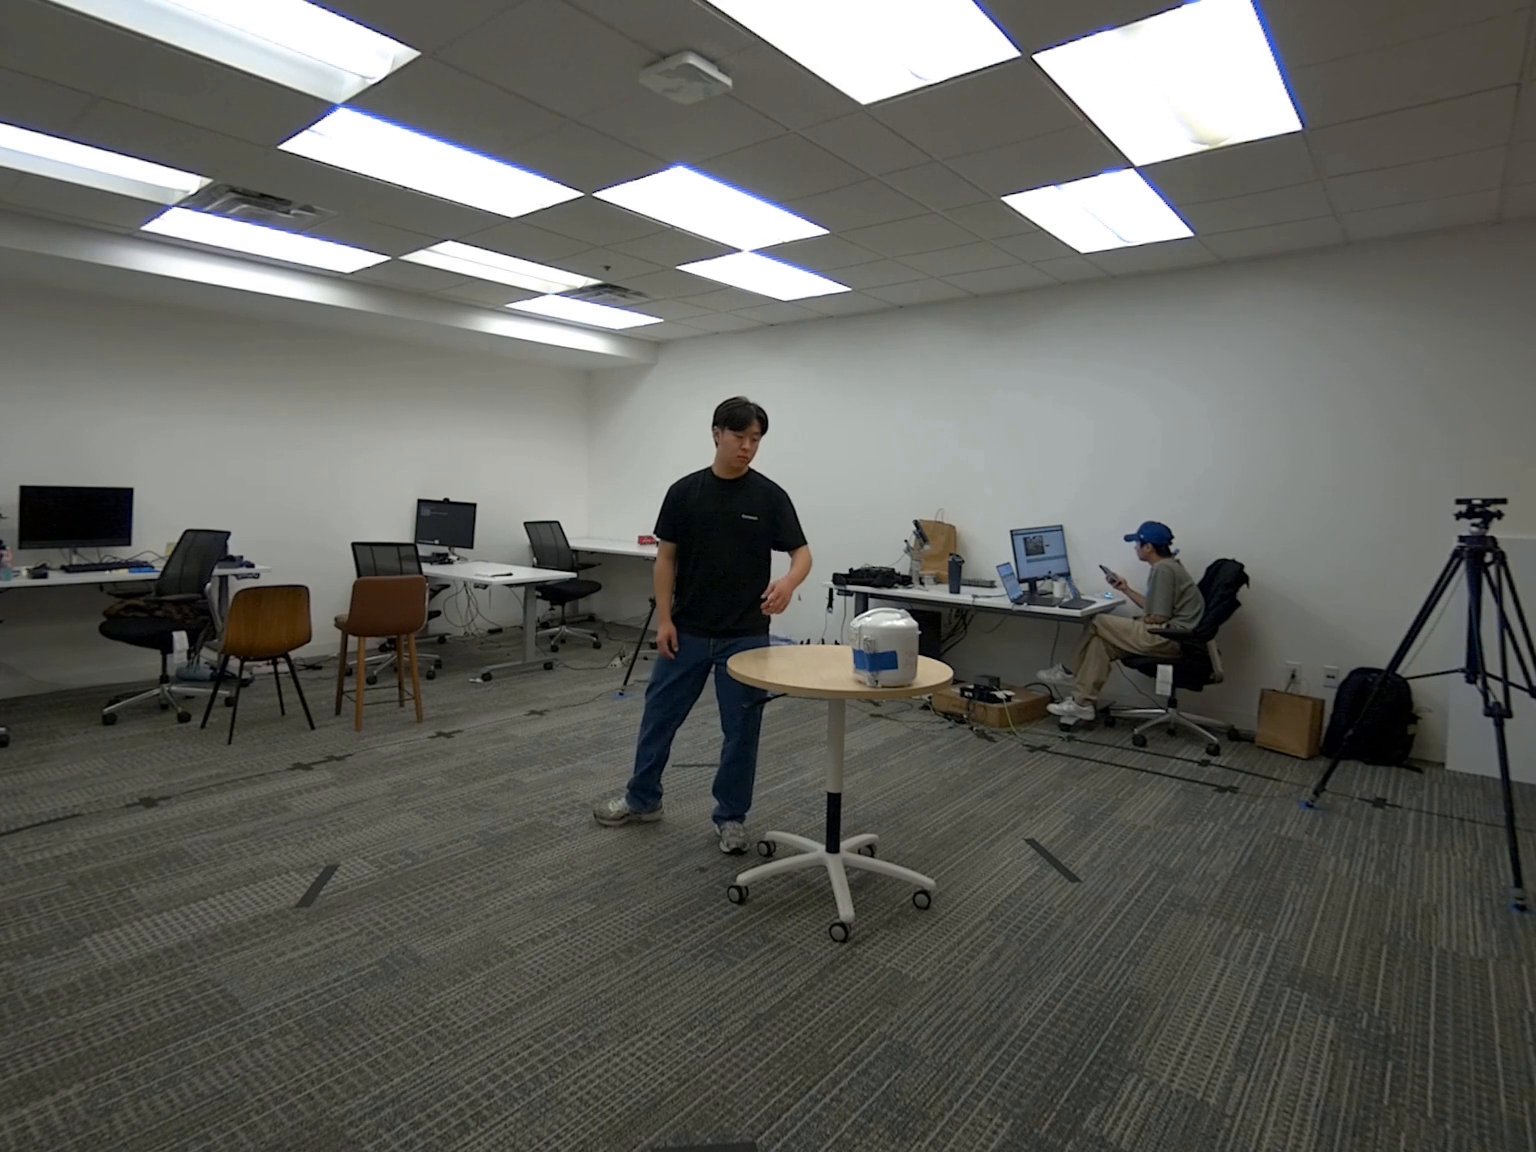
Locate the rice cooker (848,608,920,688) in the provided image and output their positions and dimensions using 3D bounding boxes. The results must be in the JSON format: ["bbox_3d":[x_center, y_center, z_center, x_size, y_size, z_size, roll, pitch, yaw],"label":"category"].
[{"bbox_3d":[0.361,0.215,2.670,0.217,0.232,0.222,1,6,-15],"label":"rice cooker"}]
